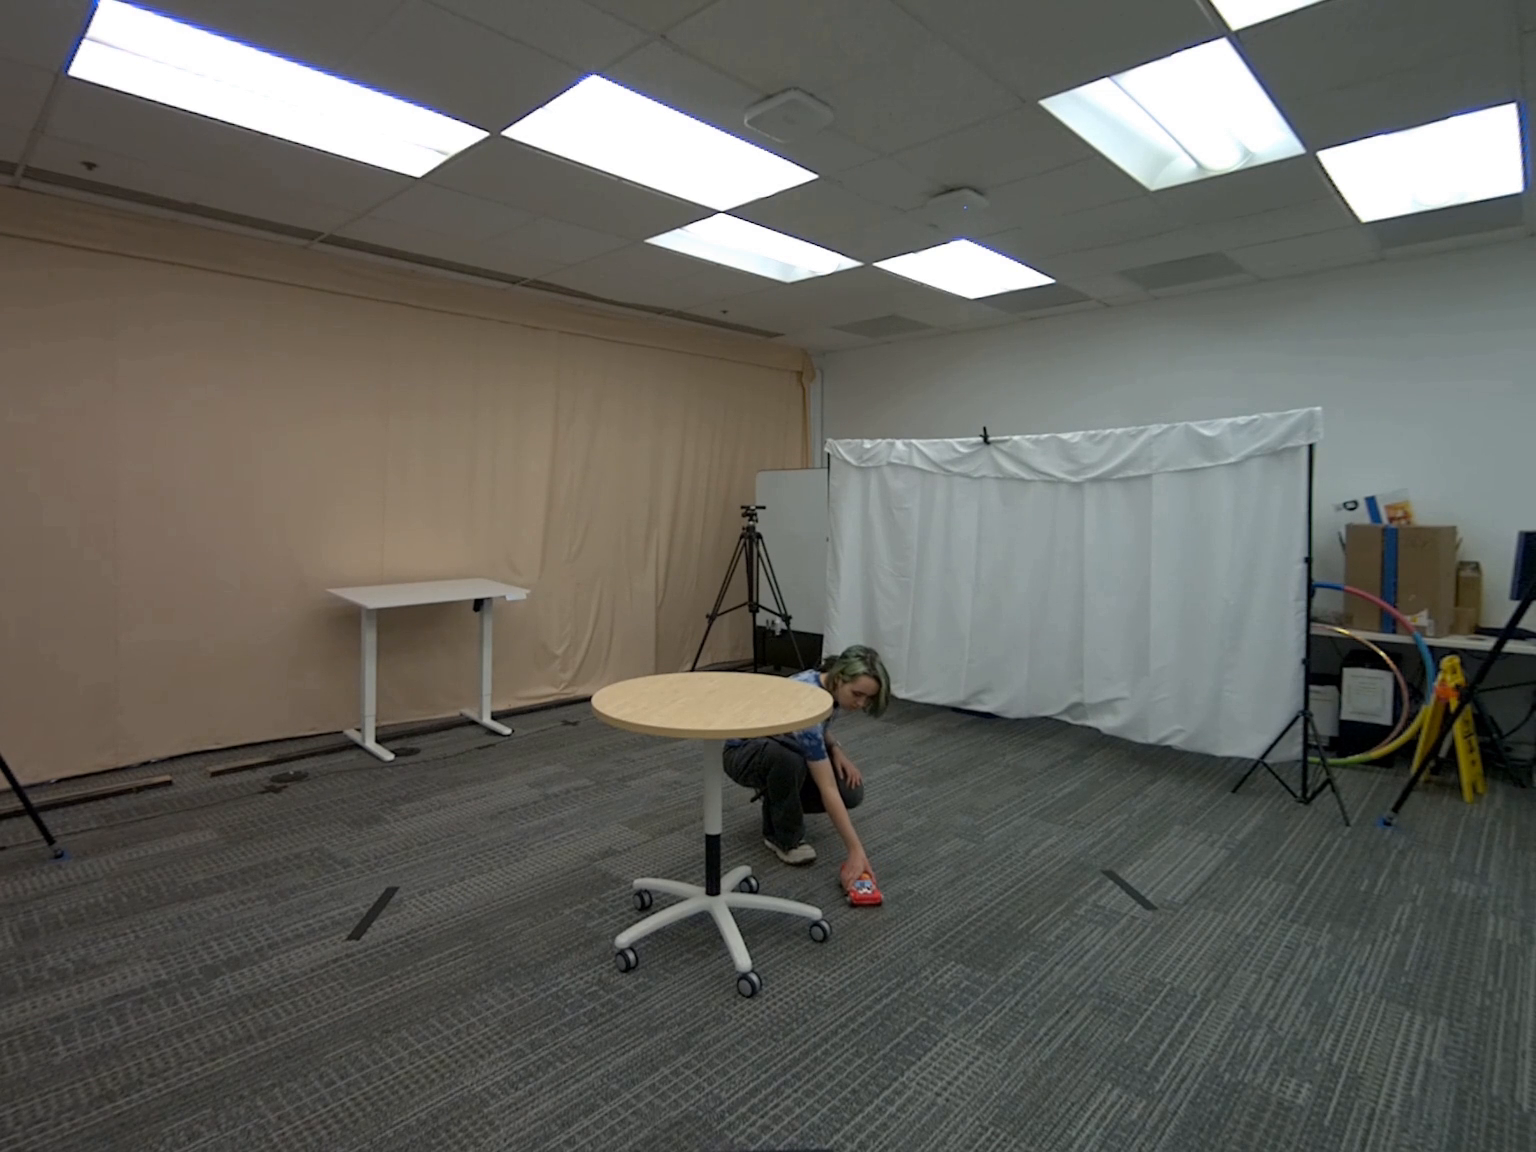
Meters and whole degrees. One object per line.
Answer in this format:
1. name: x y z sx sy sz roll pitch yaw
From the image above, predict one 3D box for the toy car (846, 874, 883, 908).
1. toy car: 0.330 1.104 3.031 0.129 0.082 0.258 -2 16 -7
